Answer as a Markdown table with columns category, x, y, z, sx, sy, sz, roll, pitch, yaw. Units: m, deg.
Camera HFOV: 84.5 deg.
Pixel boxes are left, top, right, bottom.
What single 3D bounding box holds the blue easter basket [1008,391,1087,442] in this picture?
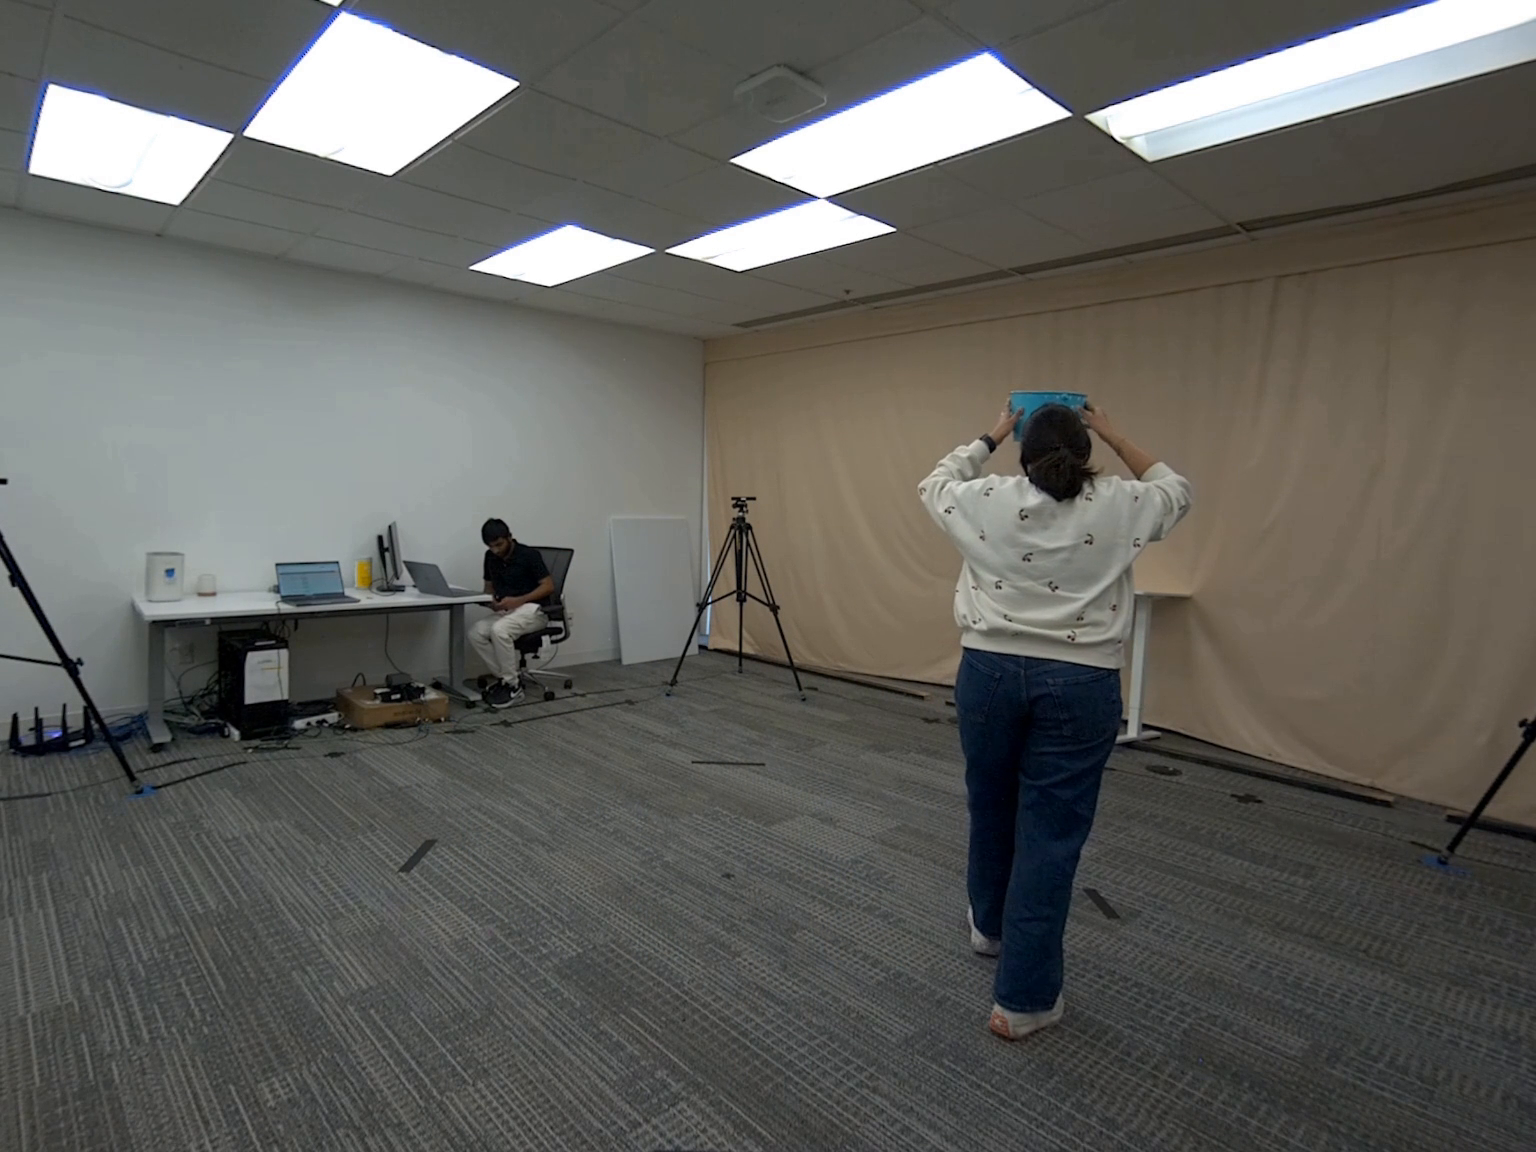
| category | x | y | z | sx | sy | sz | roll | pitch | yaw |
| --- | --- | --- | --- | --- | --- | --- | --- | --- | --- |
| blue easter basket | 0.881 | -0.497 | 2.615 | 0.243 | 0.155 | 0.245 | -1 | 8 | -1 |
